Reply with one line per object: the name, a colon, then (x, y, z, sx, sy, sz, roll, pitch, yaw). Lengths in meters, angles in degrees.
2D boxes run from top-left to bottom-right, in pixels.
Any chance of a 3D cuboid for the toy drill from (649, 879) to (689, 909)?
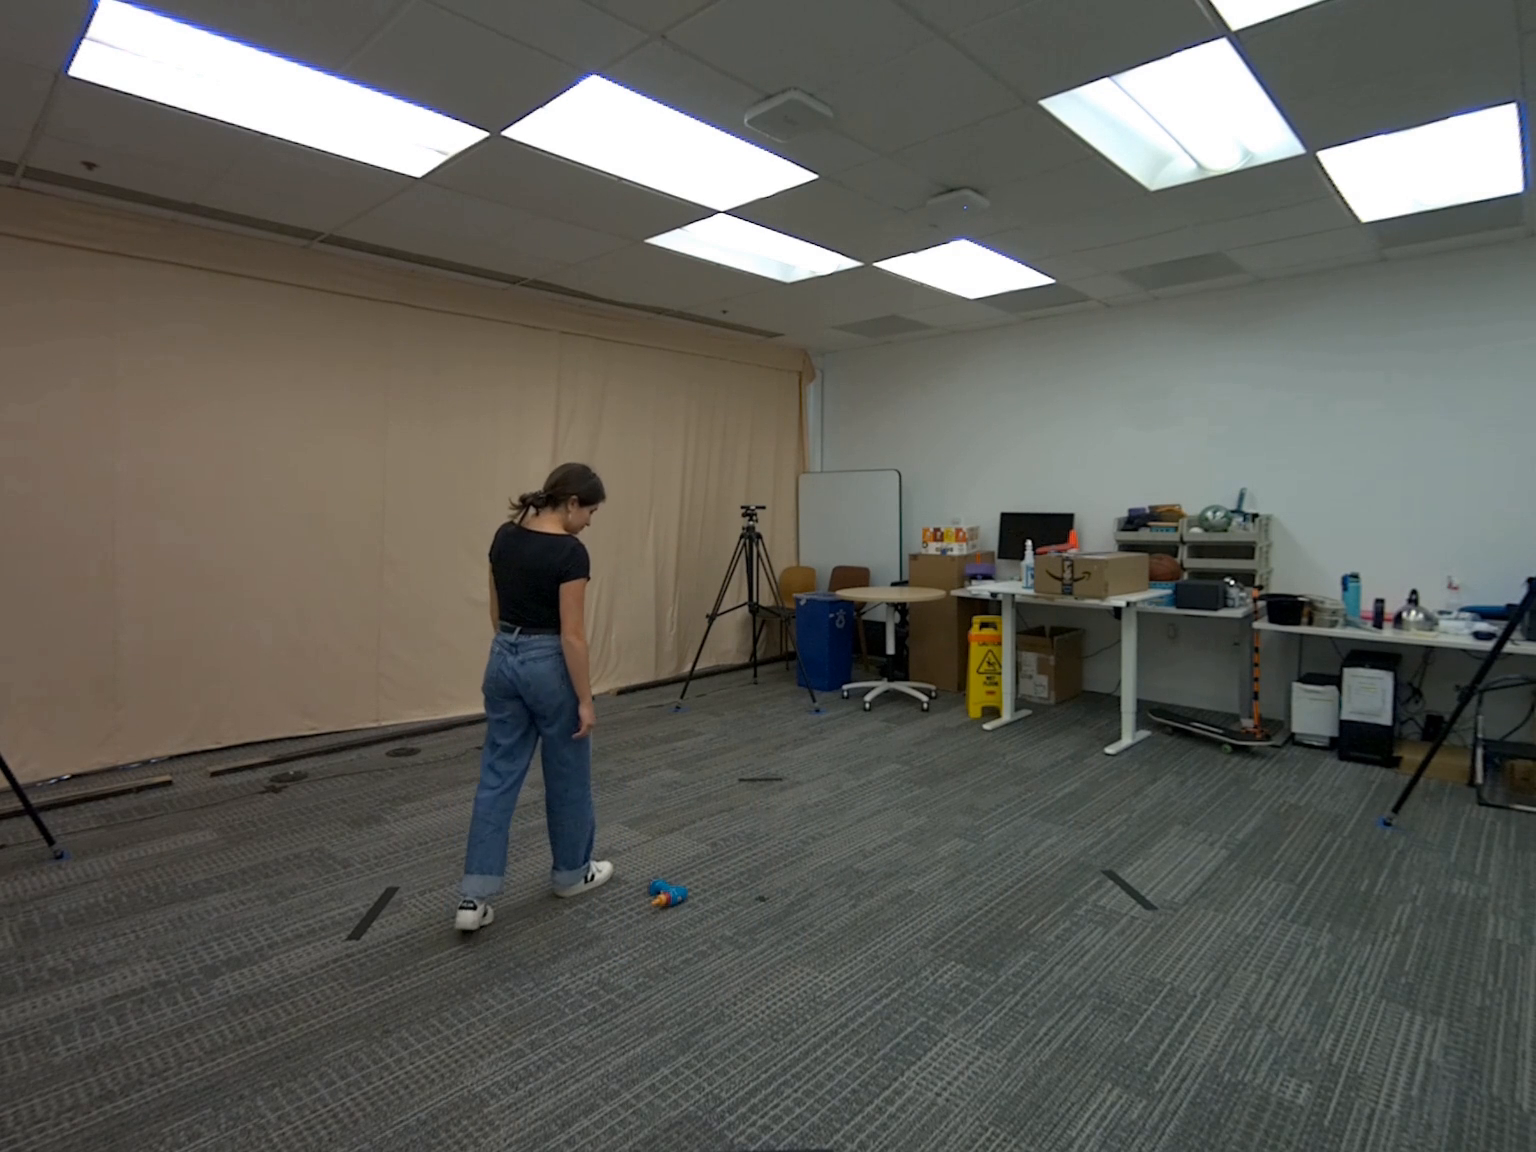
toy drill: (-0.370, 1.122, 2.947, 0.151, 0.061, 0.164, 2, -2, 40)
